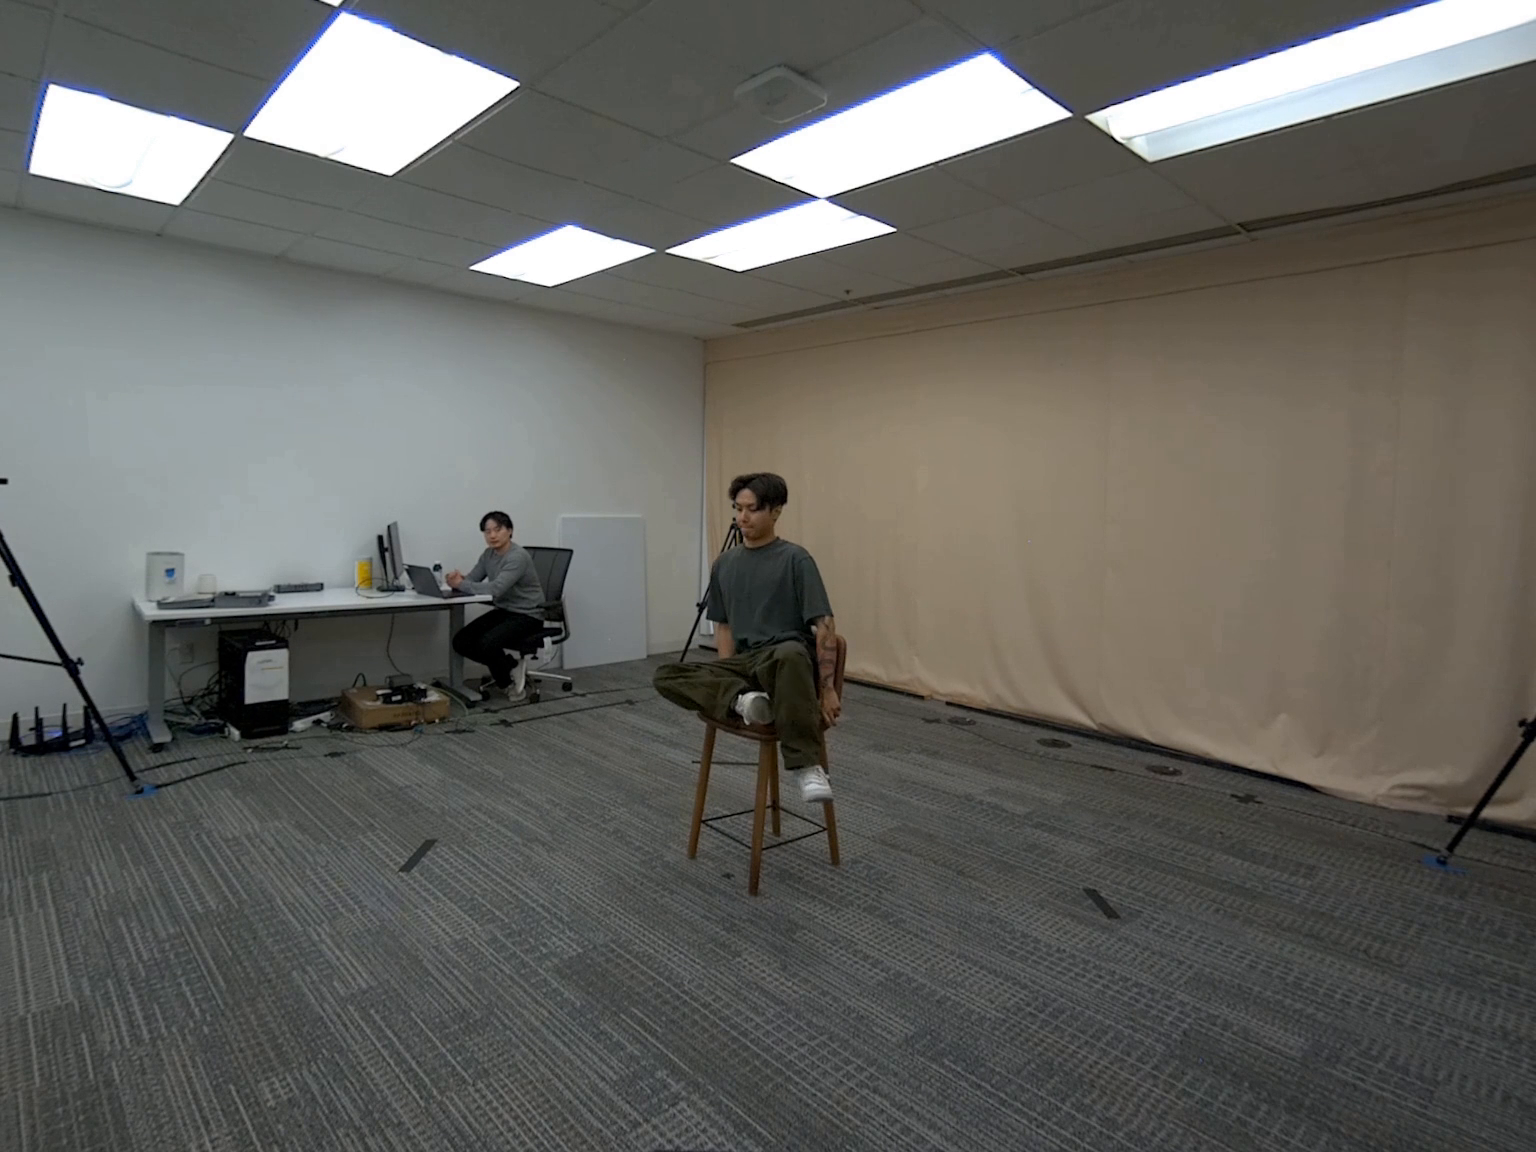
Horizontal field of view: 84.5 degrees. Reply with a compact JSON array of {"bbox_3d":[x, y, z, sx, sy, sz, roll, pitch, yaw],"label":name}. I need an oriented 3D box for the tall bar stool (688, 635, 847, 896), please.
[{"bbox_3d":[0.001,0.665,3.217,0.456,0.889,0.468,2,2,-39],"label":"tall bar stool"}]
